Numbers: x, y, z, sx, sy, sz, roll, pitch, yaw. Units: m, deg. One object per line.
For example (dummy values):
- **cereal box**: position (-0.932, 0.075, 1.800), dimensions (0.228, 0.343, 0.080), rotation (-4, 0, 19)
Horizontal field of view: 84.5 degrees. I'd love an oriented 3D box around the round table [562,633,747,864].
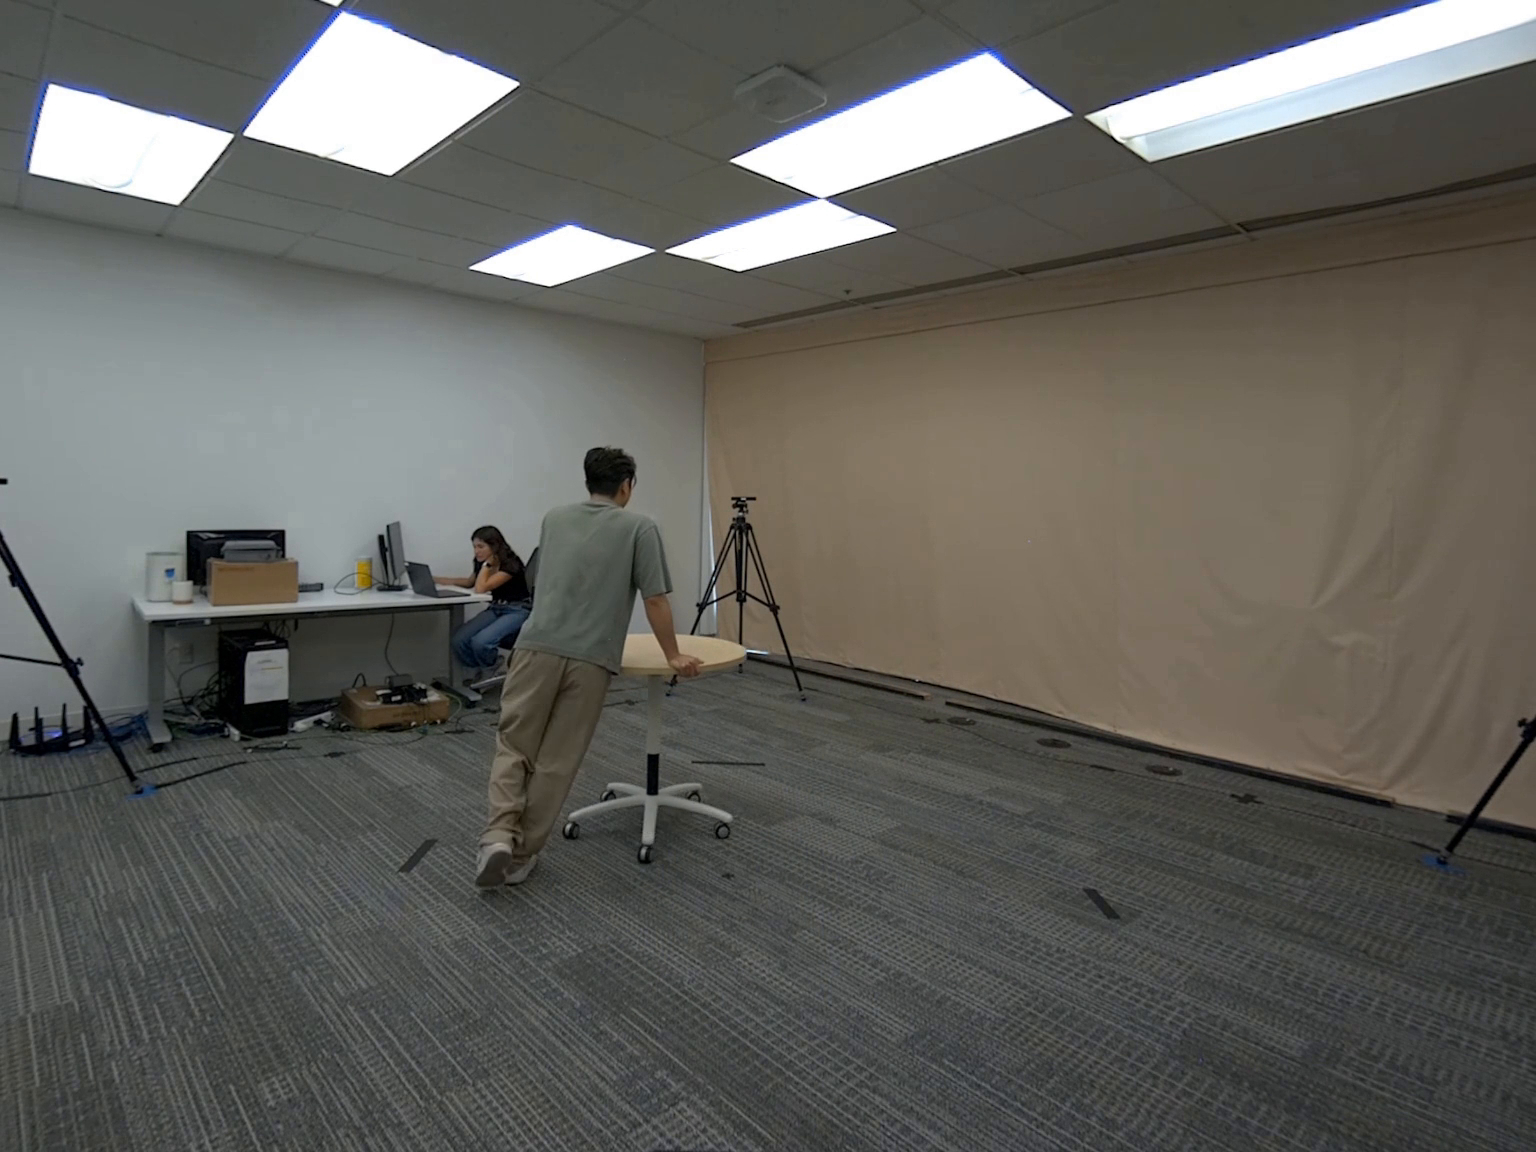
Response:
- **round table**: position (-0.475, 0.682, 3.525), dimensions (0.784, 0.784, 0.788), rotation (2, 4, -1)
